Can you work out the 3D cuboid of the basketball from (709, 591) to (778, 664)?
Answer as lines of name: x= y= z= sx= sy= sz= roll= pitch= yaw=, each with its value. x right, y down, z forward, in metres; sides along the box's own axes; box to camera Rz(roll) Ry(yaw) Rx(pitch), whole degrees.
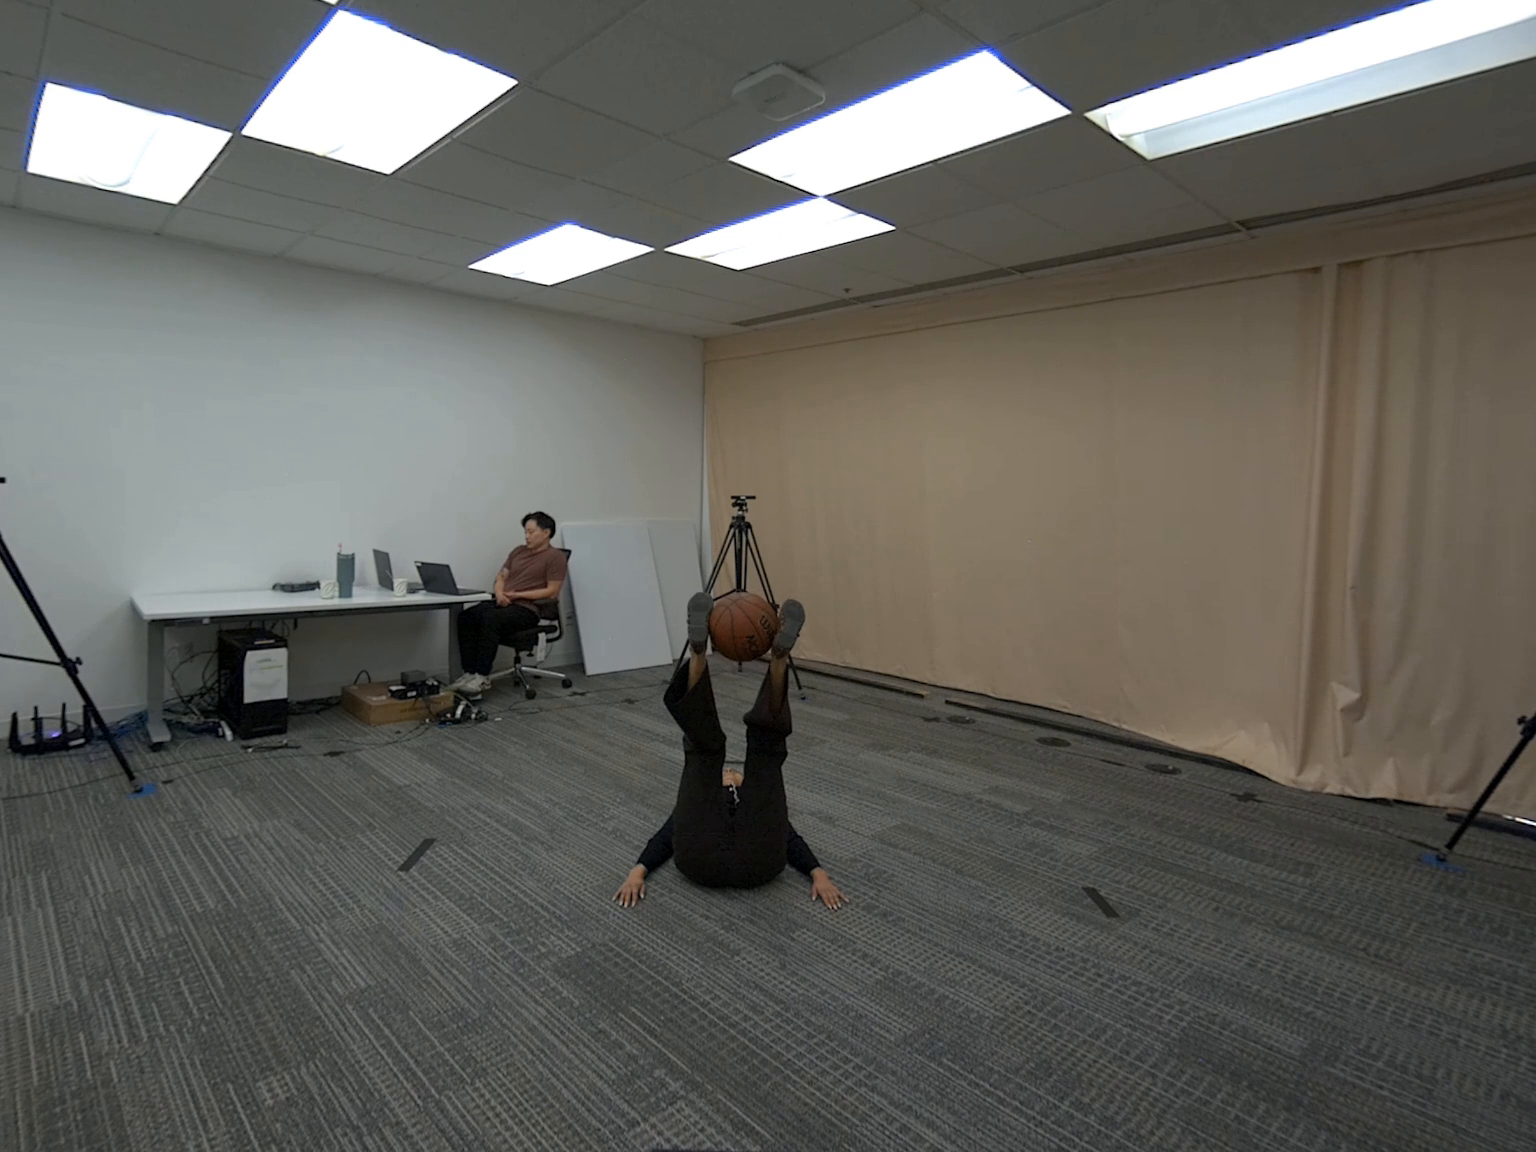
basketball: x=-0.097 y=0.169 z=2.859 sx=0.235 sy=0.235 sz=0.237 roll=4 pitch=5 yaw=-2
